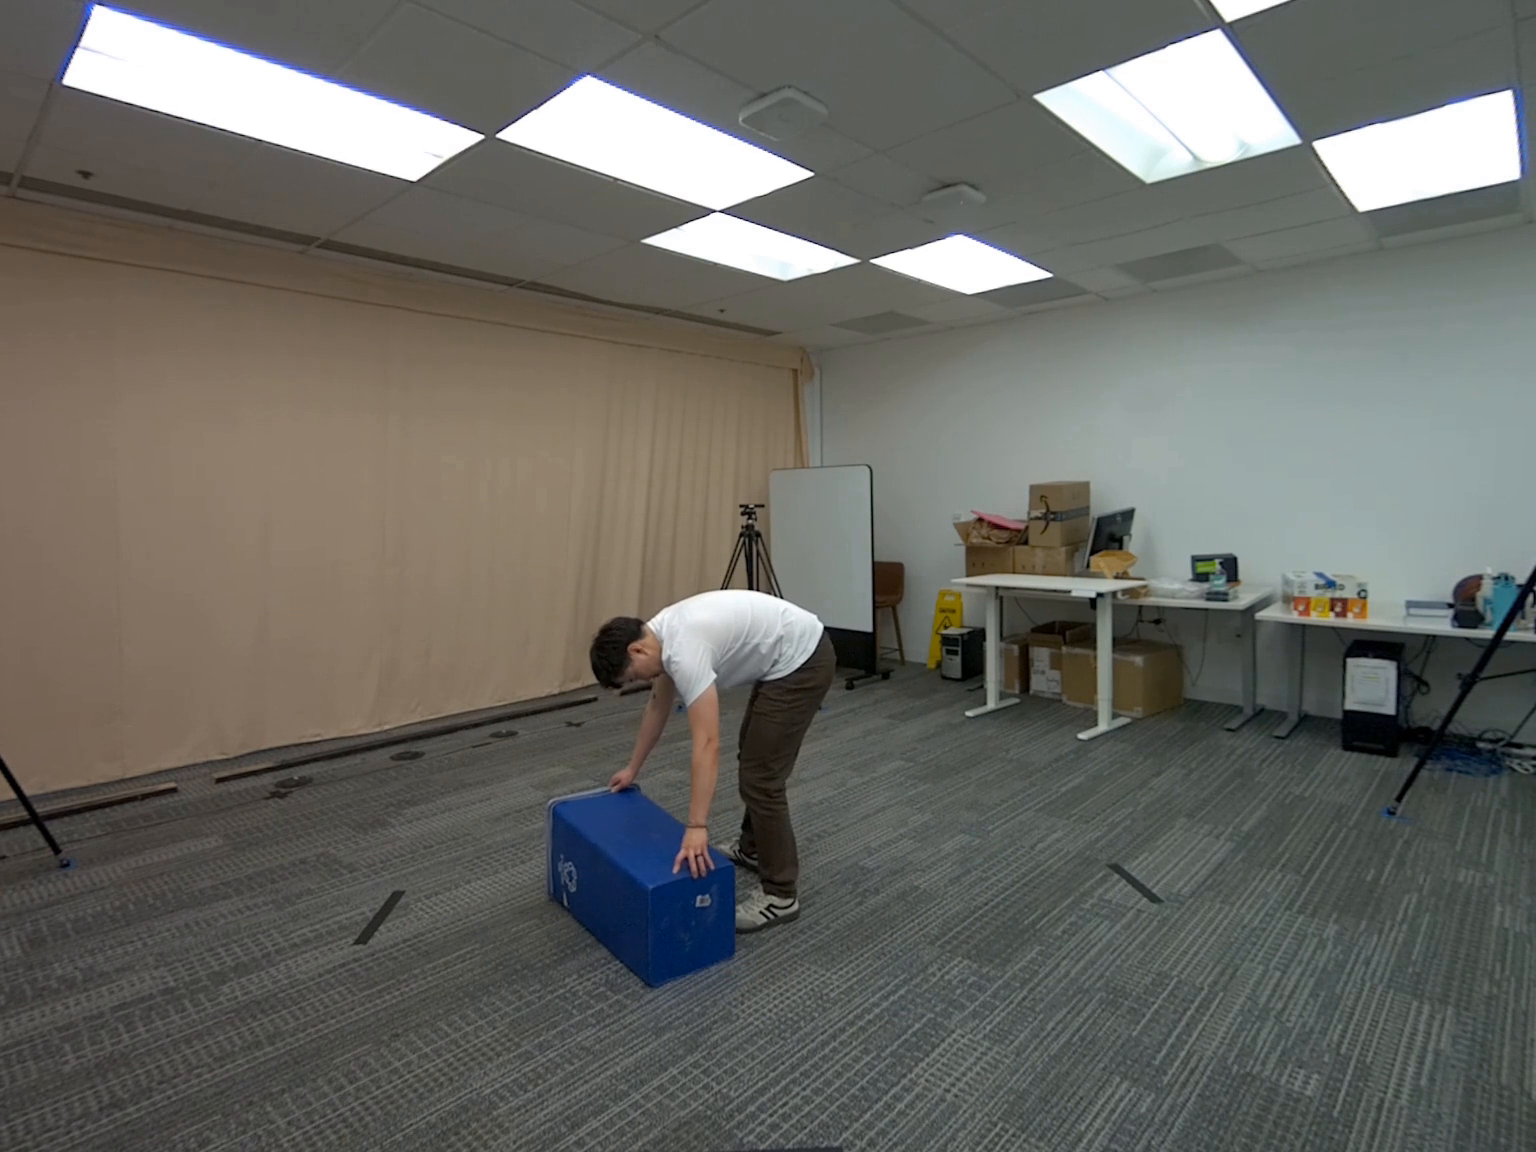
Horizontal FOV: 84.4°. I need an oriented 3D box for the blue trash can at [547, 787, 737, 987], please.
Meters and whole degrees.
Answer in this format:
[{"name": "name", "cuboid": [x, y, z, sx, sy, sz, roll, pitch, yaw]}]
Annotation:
[{"name": "blue trash can", "cuboid": [-0.438, 0.996, 2.798, 0.363, 0.377, 0.736, -2, 6, -34]}]
